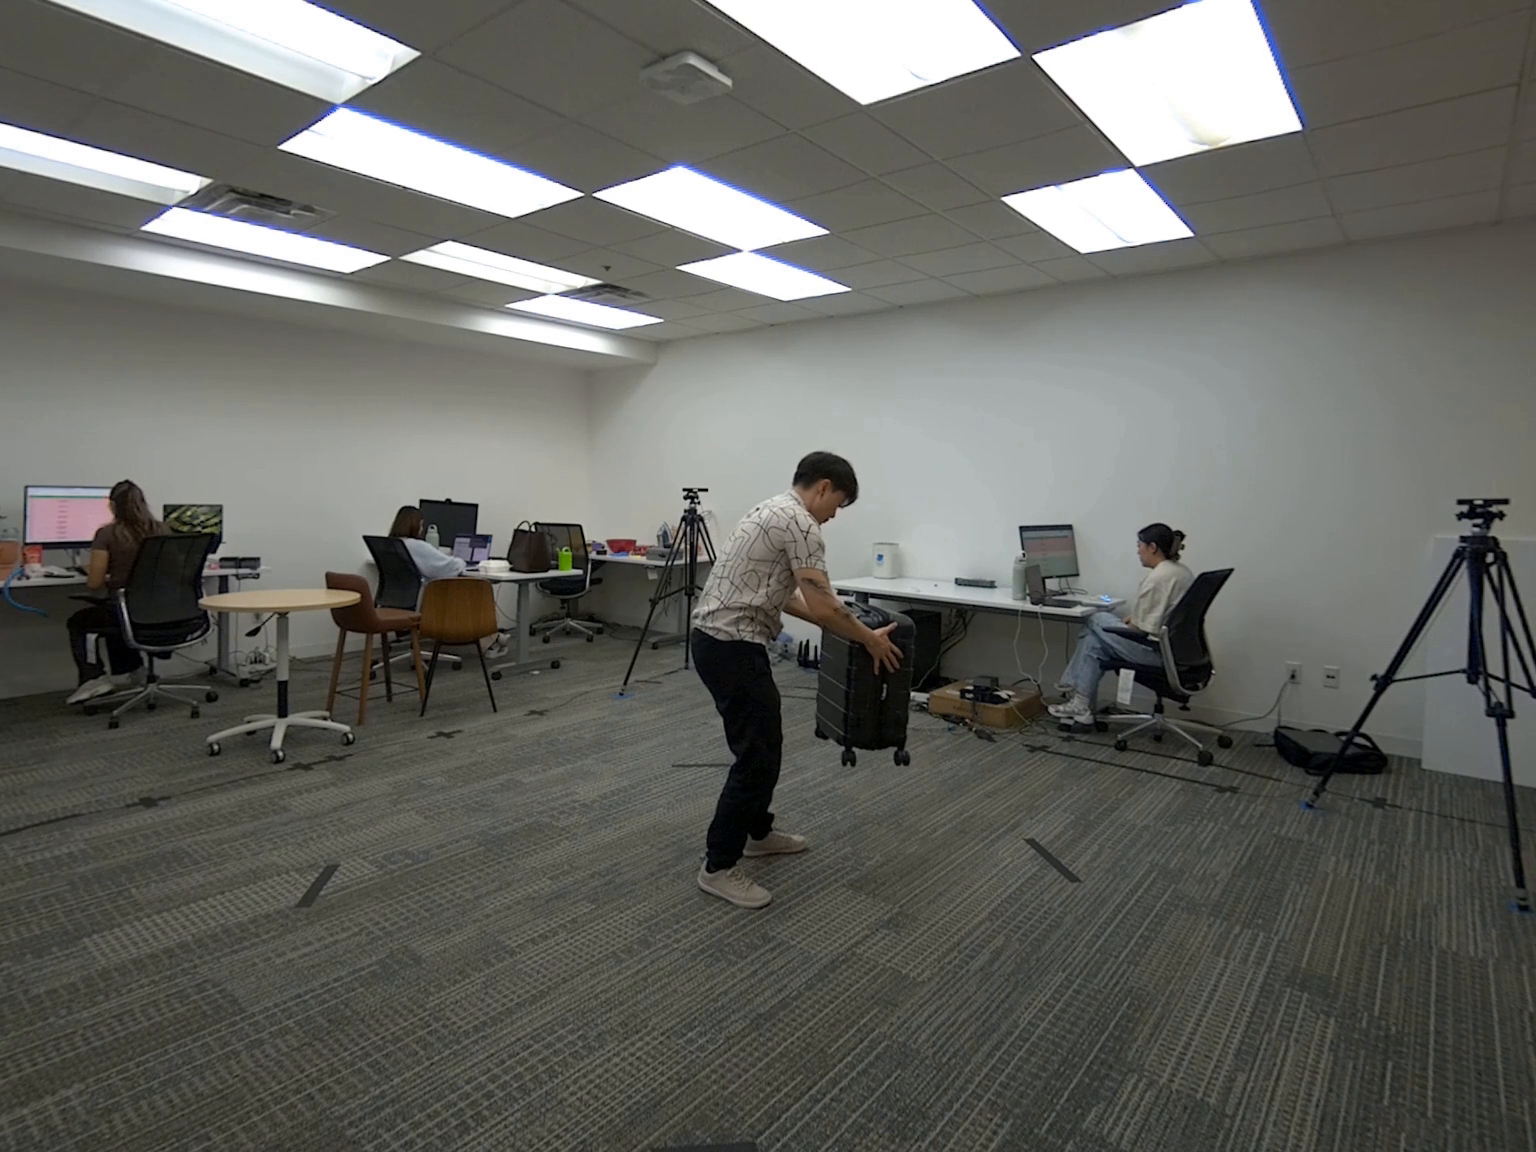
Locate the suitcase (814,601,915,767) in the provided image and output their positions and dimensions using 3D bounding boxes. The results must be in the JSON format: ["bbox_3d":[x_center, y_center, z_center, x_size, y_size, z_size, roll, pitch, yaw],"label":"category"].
[{"bbox_3d":[0.344,0.386,3.172,0.244,0.548,0.382,3,3,-16],"label":"suitcase"}]
